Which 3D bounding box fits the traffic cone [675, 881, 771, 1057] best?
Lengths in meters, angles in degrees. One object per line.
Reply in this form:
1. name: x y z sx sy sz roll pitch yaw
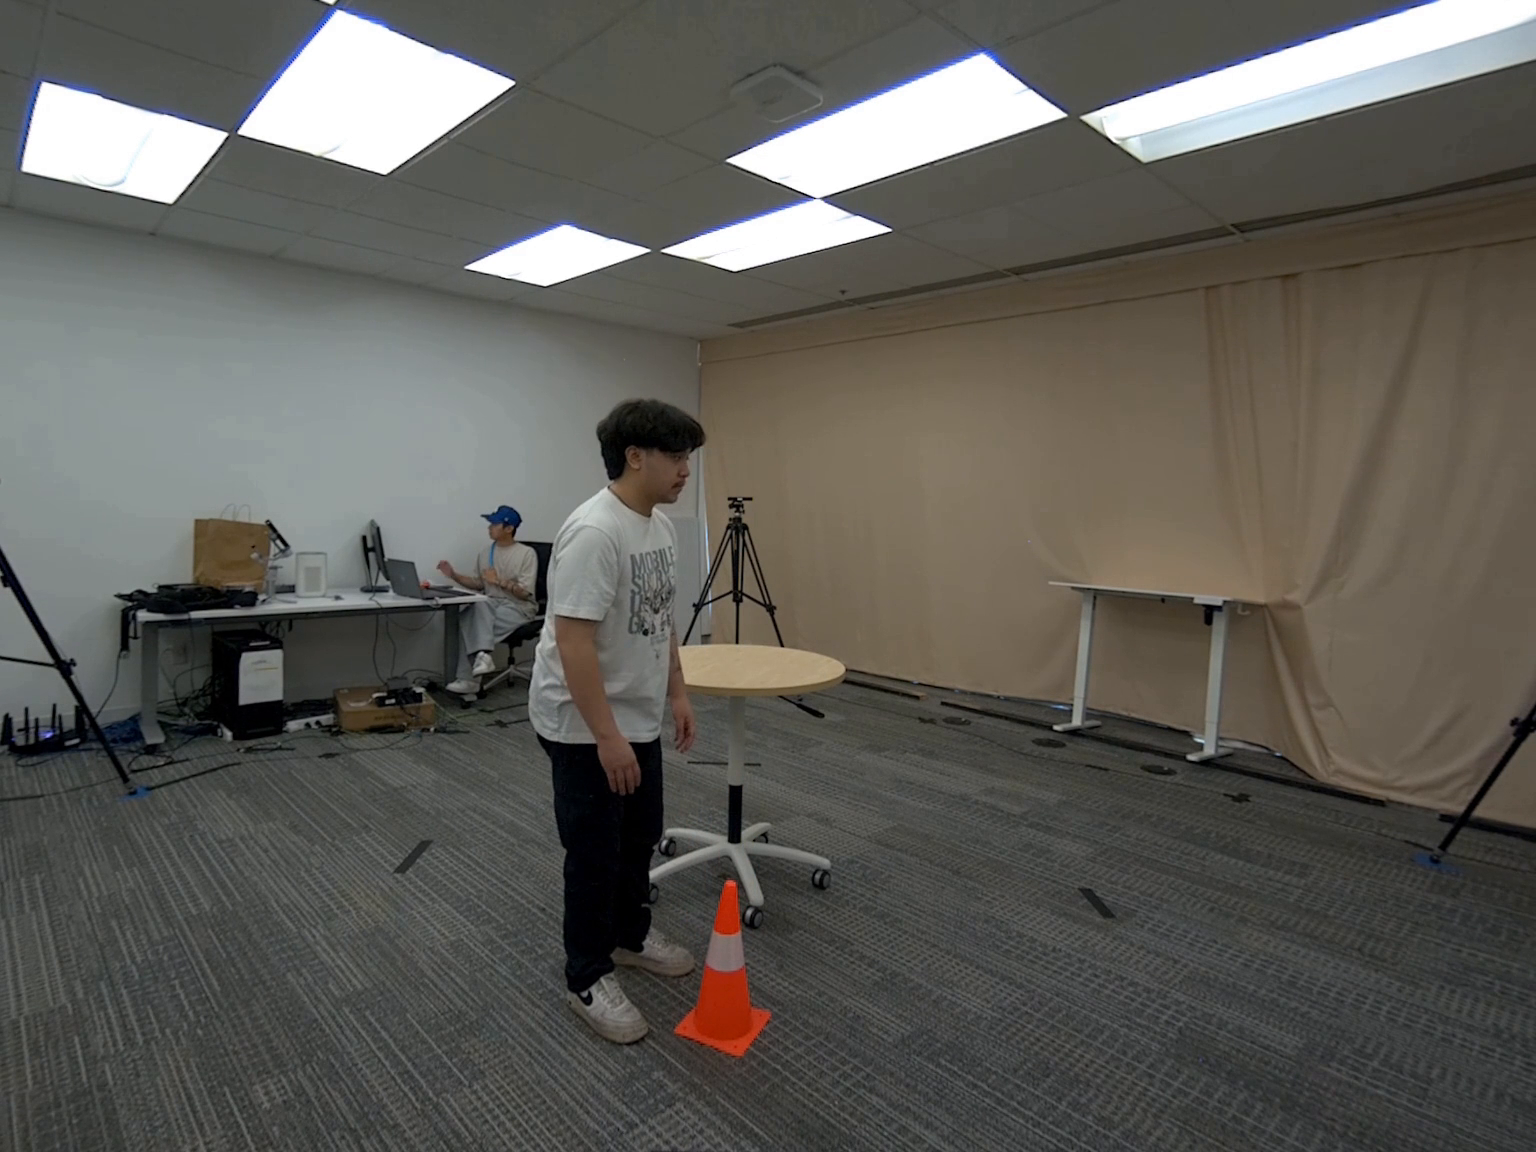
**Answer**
1. traffic cone: -0.116 1.006 2.212 0.210 0.383 0.199 6 4 36
